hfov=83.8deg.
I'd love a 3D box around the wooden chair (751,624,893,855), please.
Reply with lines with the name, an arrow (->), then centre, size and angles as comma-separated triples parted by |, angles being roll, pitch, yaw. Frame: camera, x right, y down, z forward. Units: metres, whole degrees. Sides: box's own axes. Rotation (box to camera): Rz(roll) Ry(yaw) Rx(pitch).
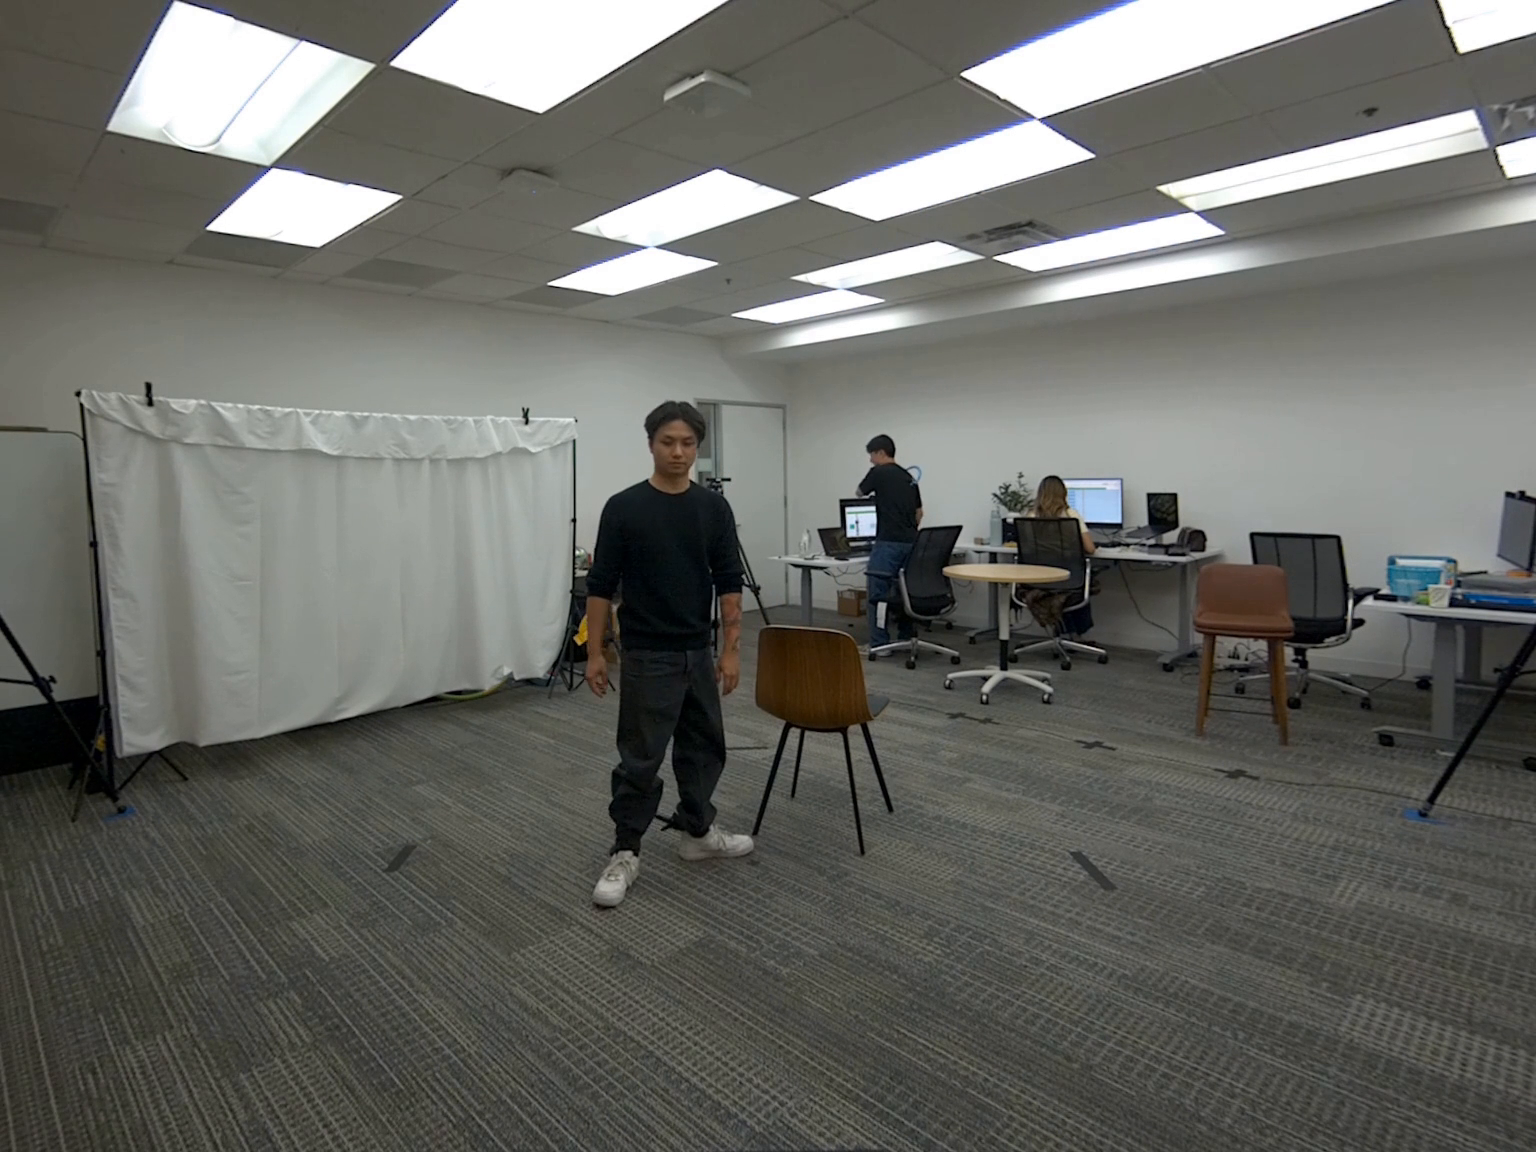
wooden chair -> 0.223, 0.572, 3.428 | 0.489, 0.871, 0.515 | 0, 9, 24
